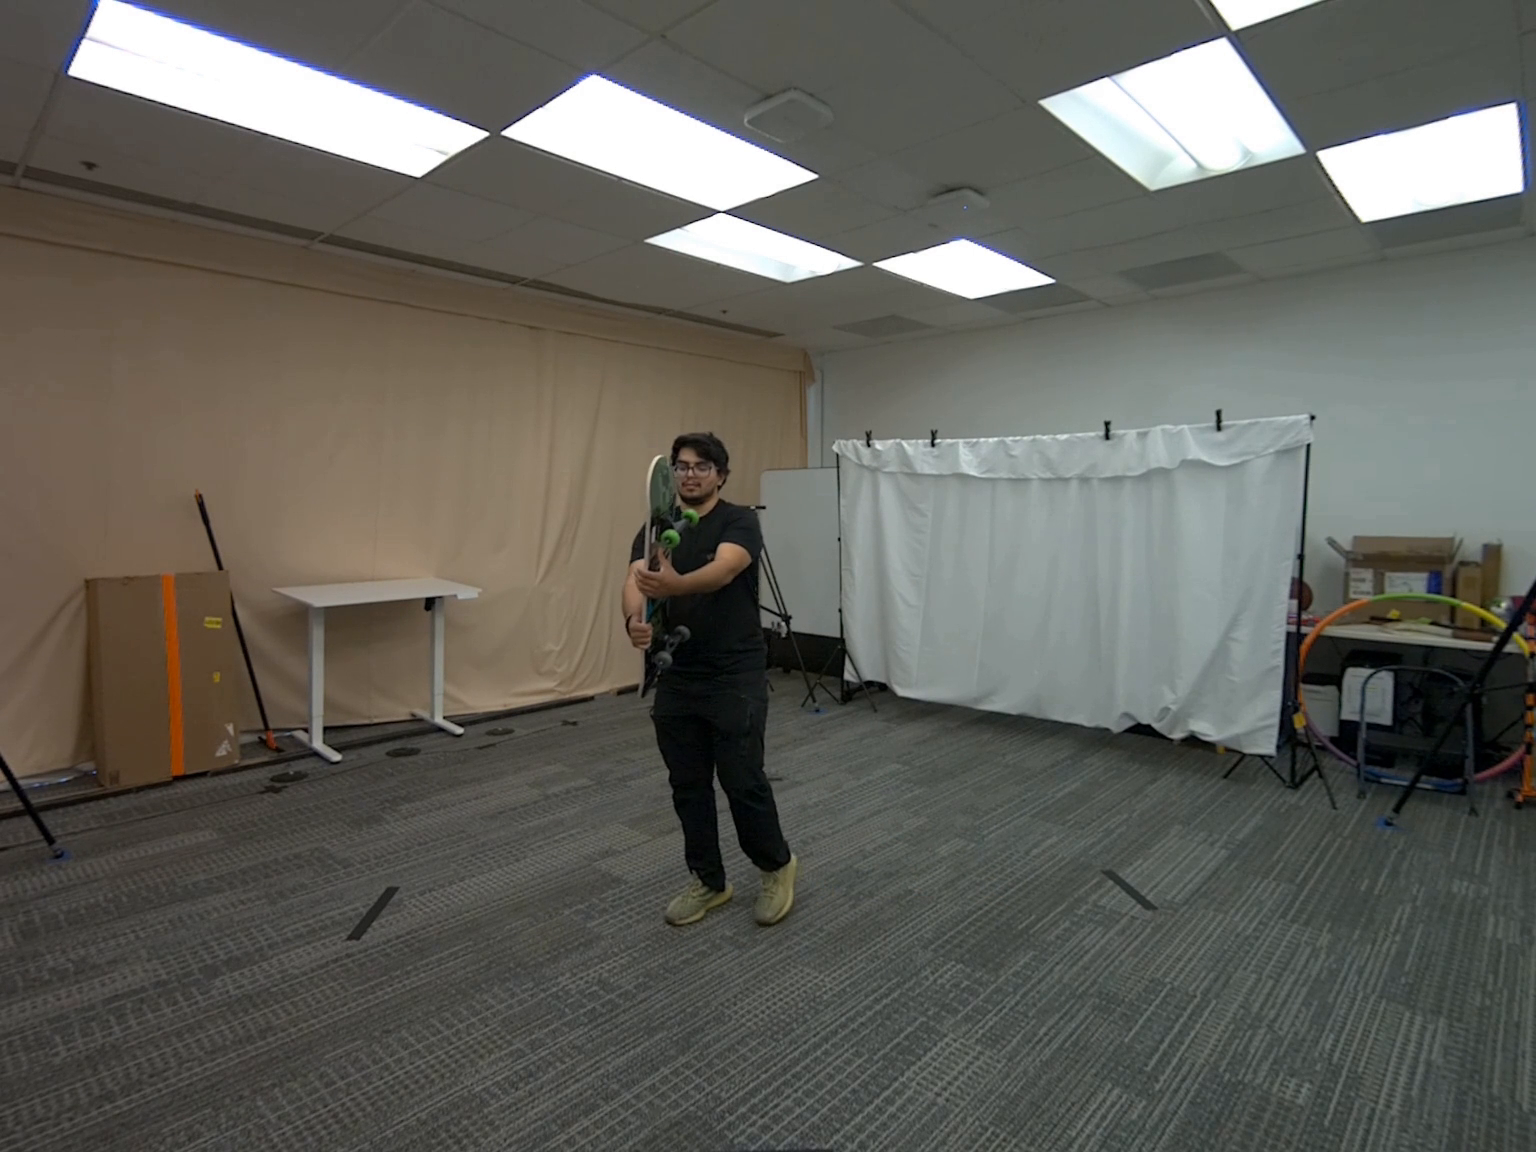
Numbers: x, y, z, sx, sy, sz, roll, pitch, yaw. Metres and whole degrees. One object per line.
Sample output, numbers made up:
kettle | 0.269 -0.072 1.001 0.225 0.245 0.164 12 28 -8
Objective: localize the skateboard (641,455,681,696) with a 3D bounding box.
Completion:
skateboard | -0.292 0.036 2.454 0.112 0.776 0.192 15 28 14
